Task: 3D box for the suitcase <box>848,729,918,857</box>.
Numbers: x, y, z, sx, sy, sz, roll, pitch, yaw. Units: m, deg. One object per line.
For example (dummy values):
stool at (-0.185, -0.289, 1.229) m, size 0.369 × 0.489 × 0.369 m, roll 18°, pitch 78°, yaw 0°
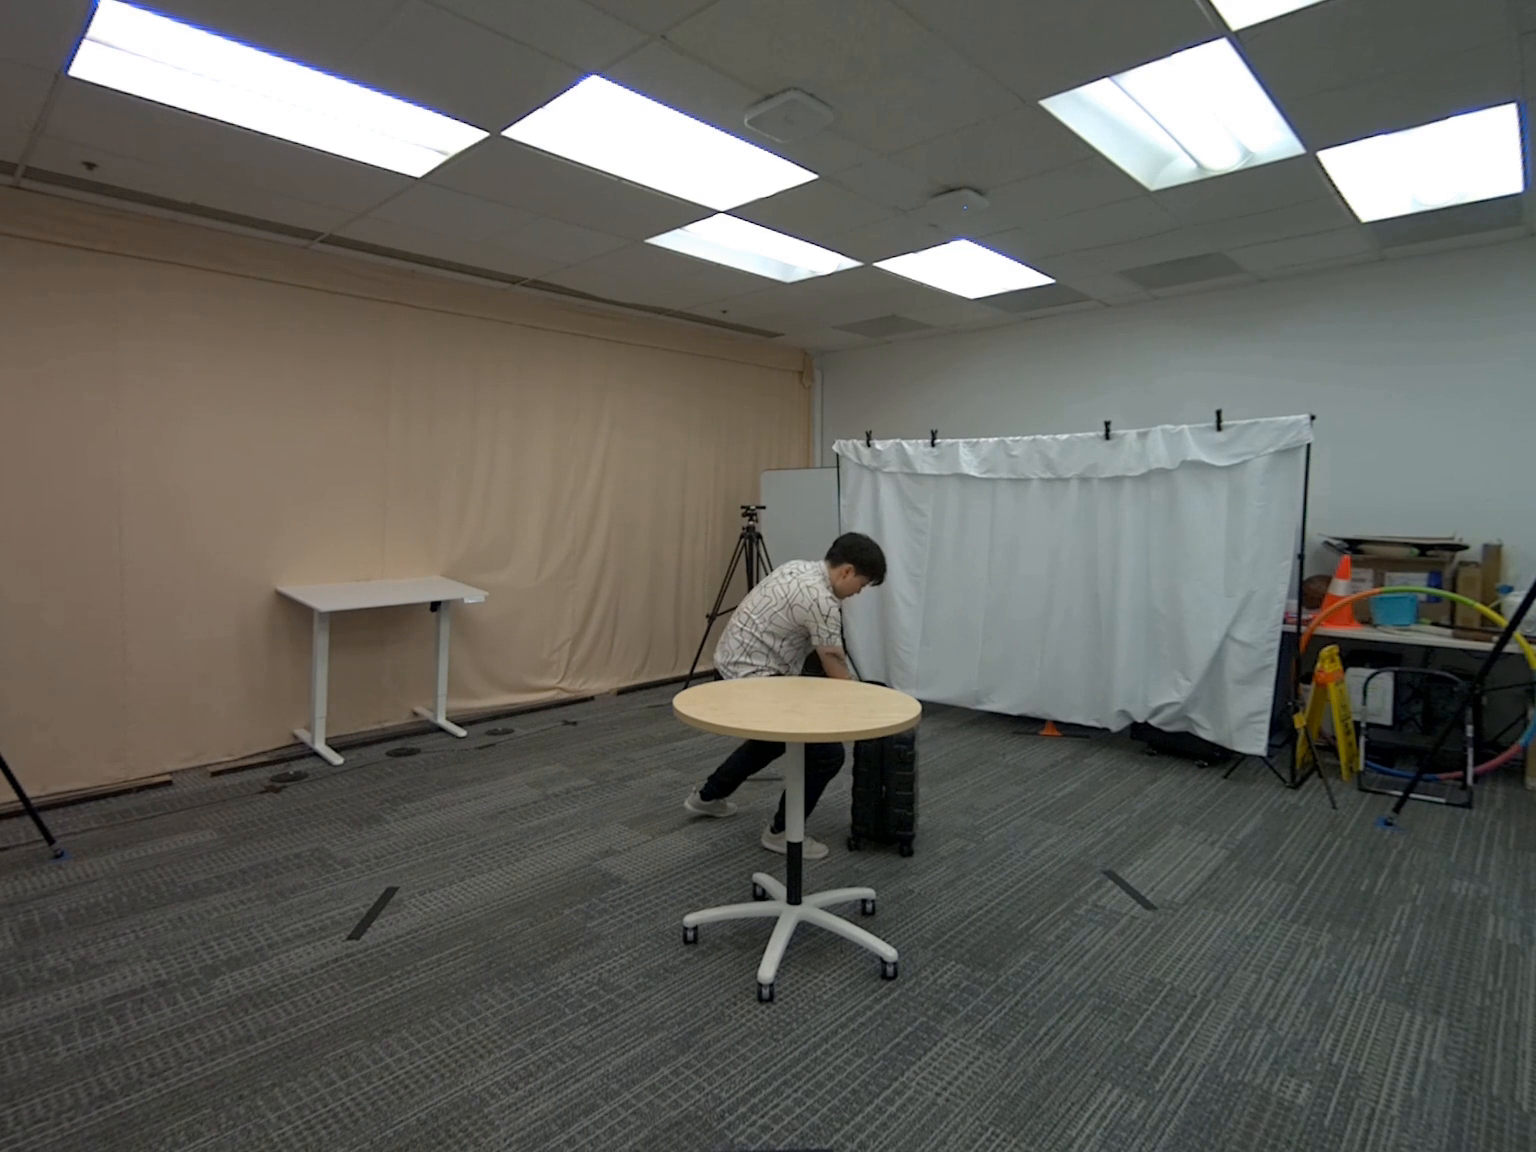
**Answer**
suitcase at (0.494, 0.829, 3.482) m, size 0.252 × 0.548 × 0.370 m, roll 3°, pitch 4°, yaw 14°
